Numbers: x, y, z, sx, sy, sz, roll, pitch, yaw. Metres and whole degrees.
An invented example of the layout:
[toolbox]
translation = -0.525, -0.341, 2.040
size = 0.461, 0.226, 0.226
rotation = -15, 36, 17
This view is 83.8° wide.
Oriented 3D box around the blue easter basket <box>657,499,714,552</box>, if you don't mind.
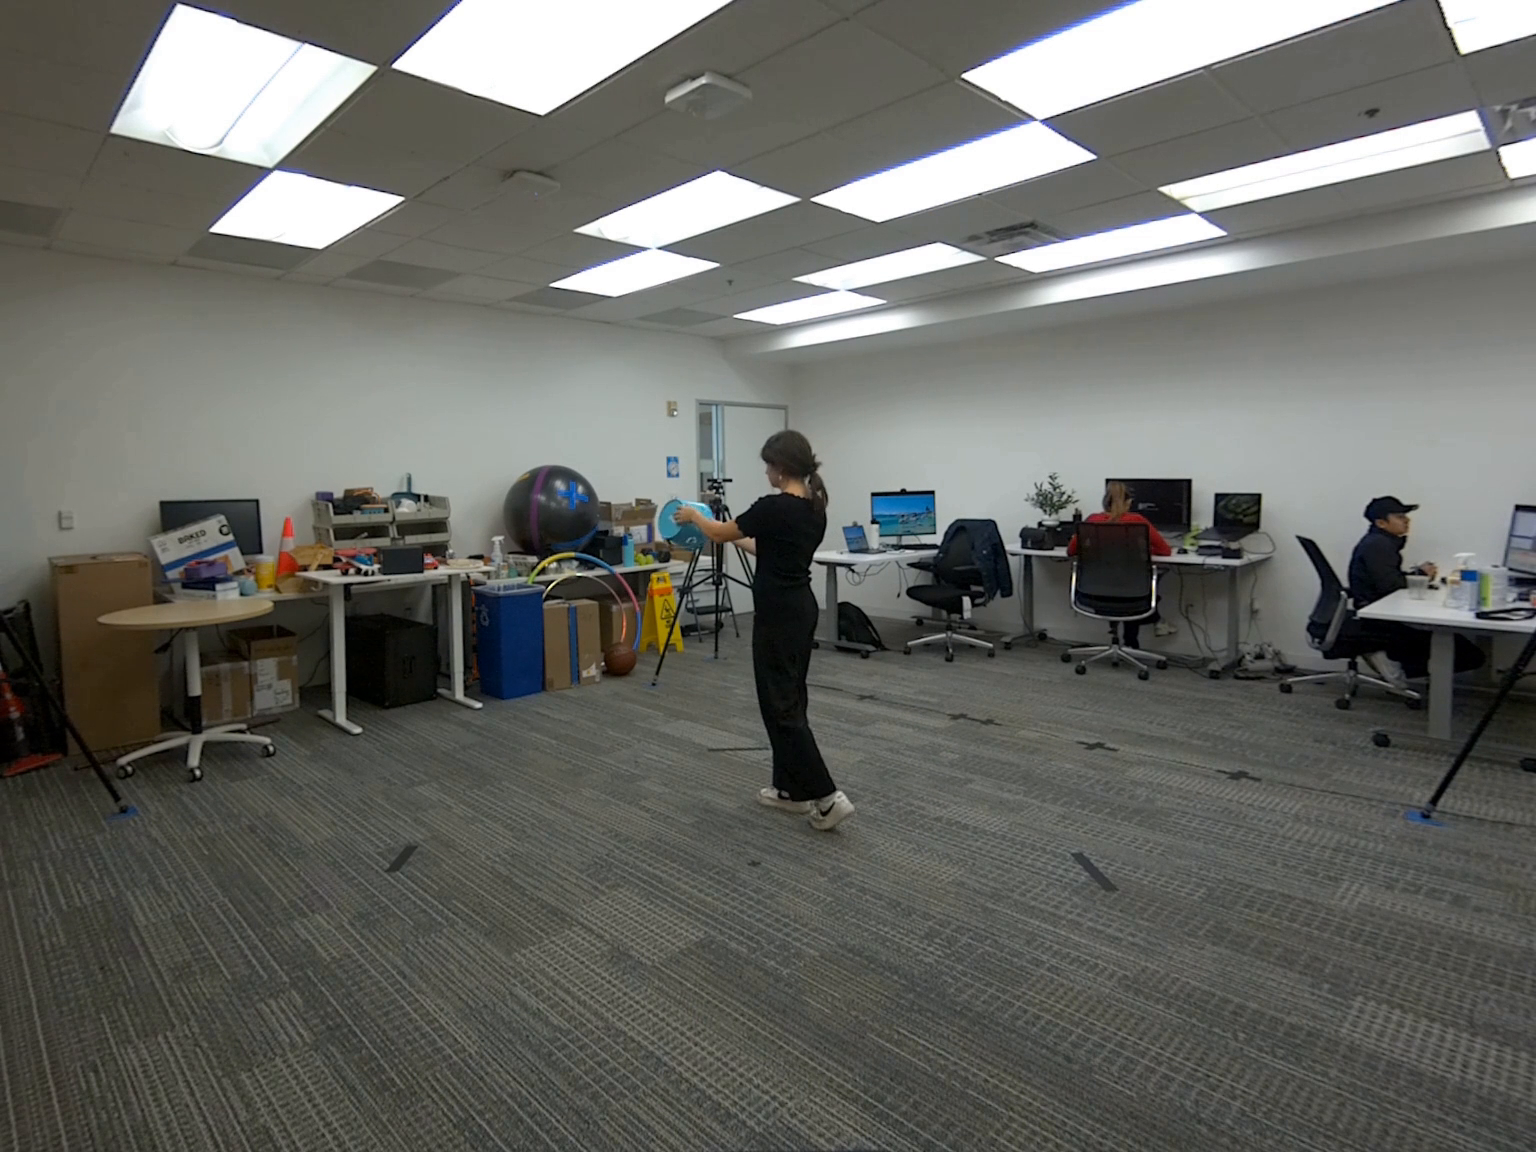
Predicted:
[blue easter basket]
translation = -0.388, -0.239, 3.903
size = 0.251, 0.245, 0.150
rotation = 4, -10, 46
